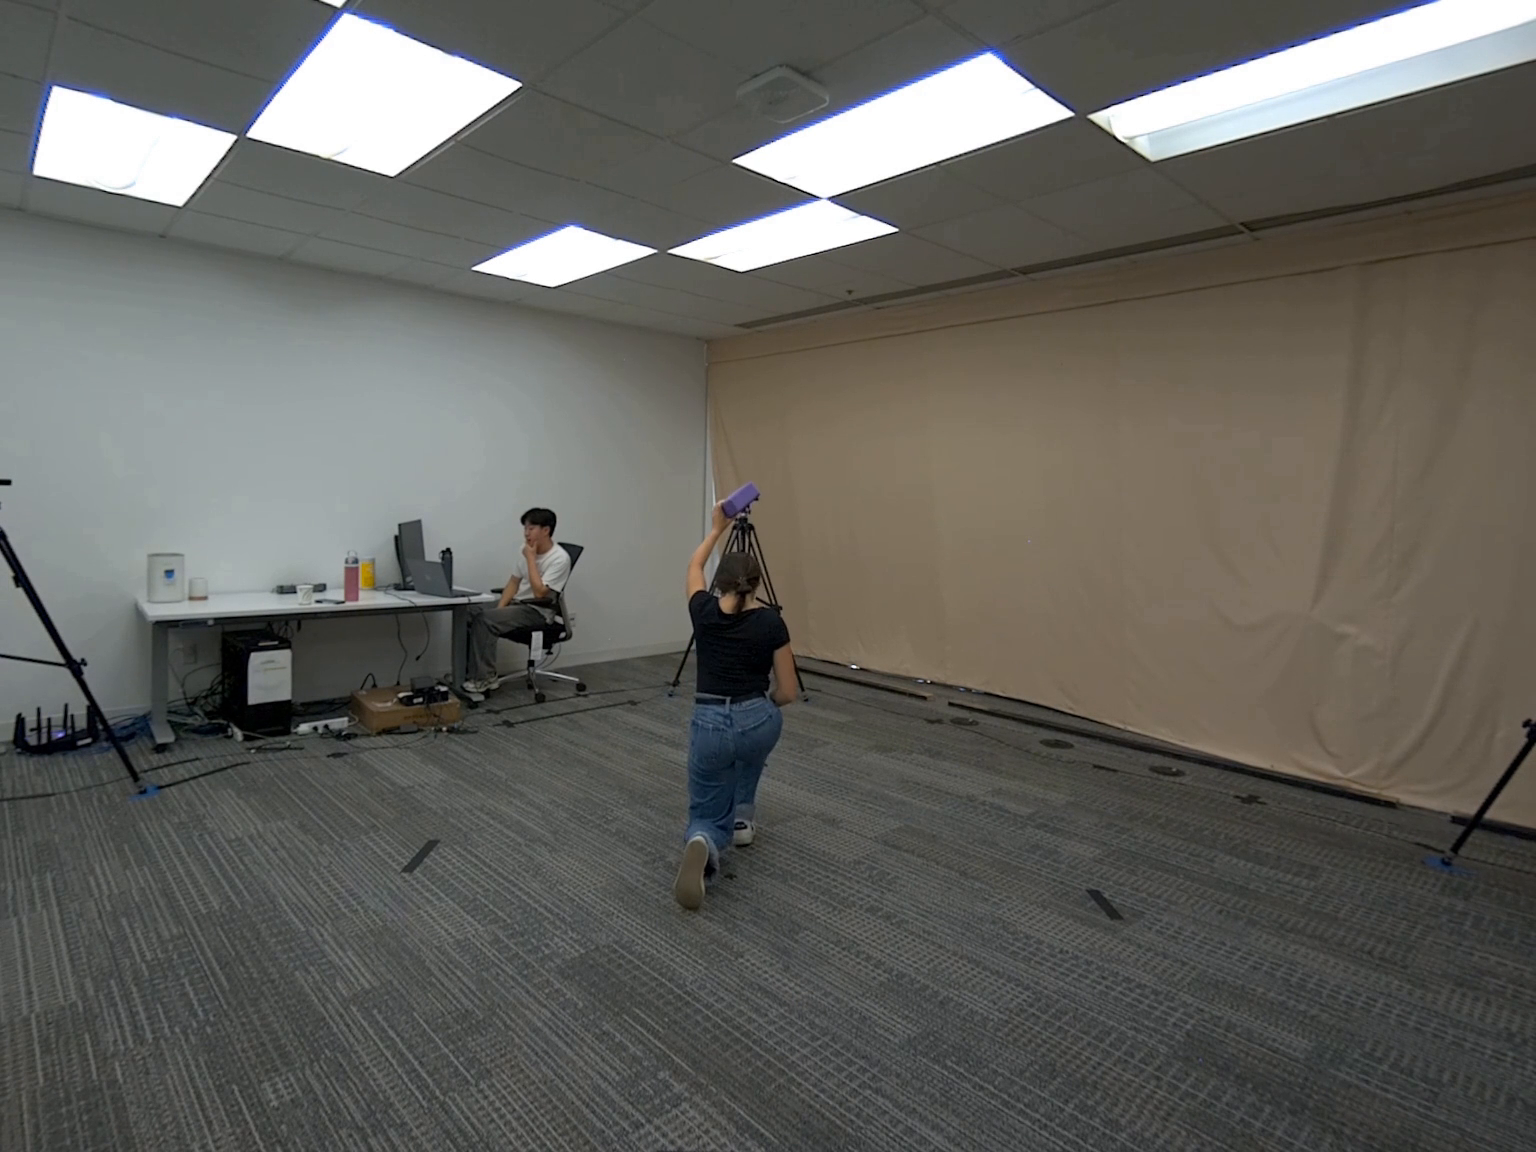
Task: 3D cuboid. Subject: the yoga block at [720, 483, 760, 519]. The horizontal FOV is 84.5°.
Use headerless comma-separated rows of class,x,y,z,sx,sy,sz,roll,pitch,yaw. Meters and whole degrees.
yoga block,-0.150,-0.326,3.761,0.148,0.076,0.231,-41,8,-23
